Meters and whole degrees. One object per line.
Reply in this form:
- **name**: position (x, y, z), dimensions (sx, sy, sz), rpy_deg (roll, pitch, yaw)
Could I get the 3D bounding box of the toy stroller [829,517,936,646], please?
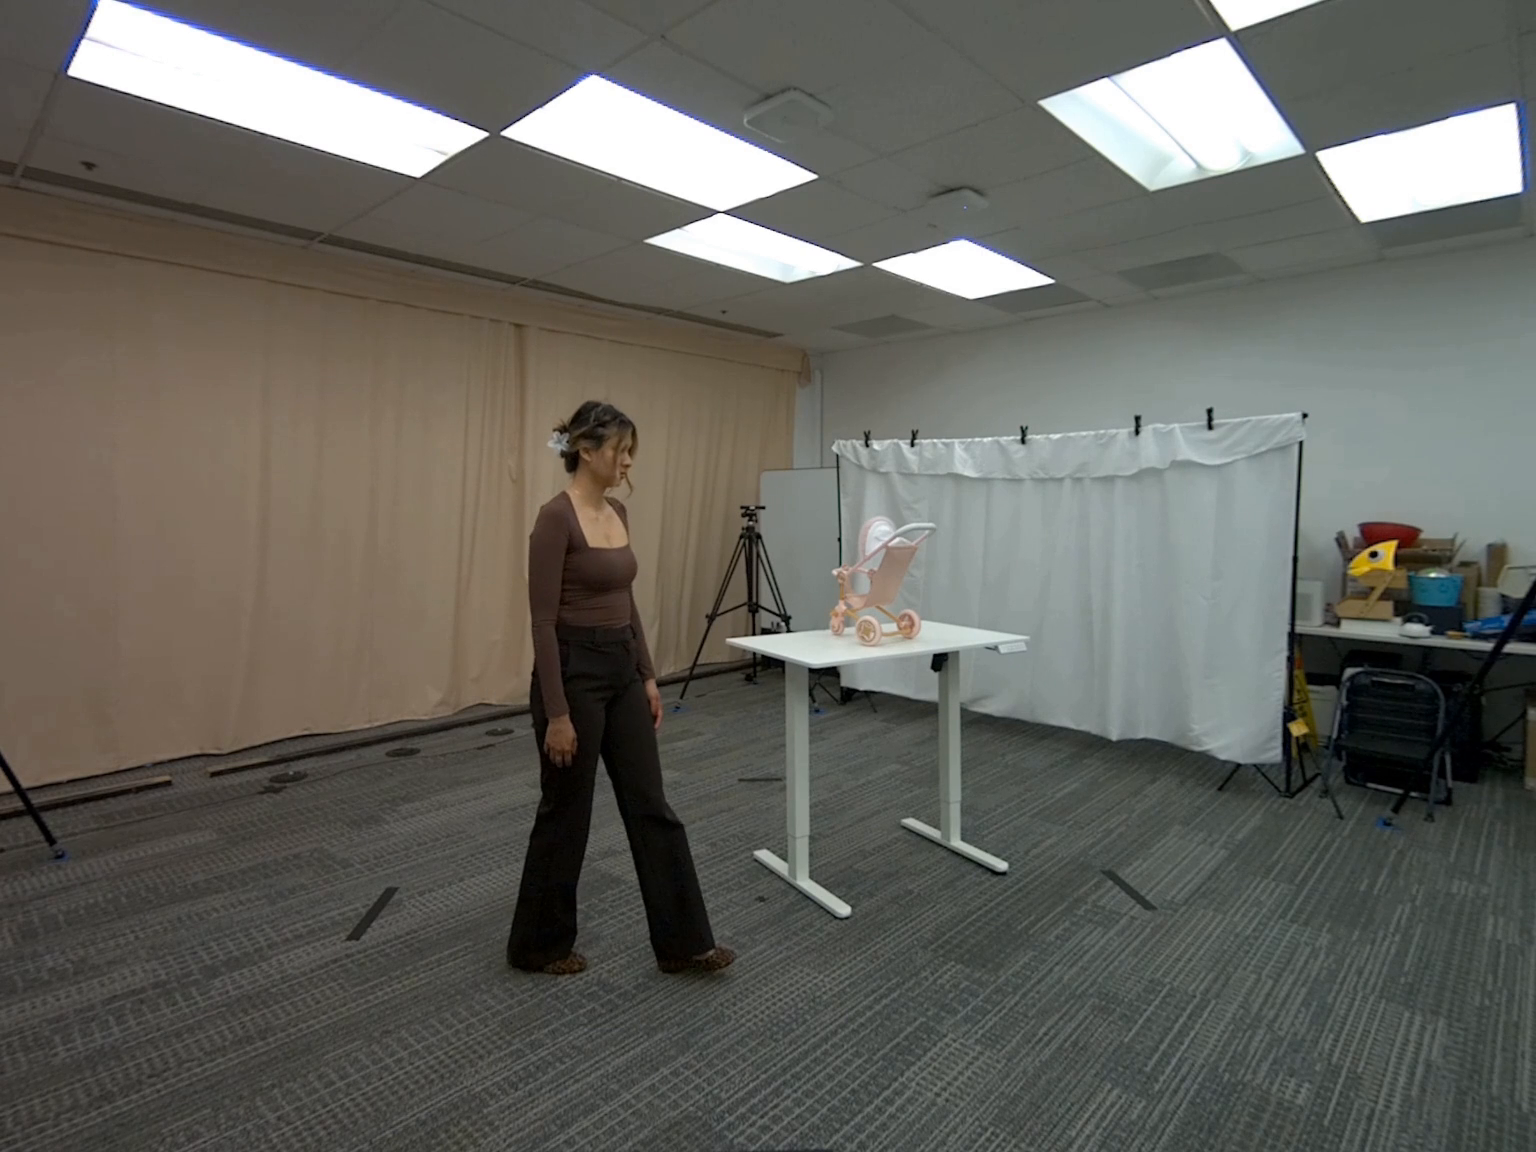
- **toy stroller**: position (0.410, 0.019, 3.179), dimensions (0.273, 0.531, 0.354), rpy_deg (-2, 18, -40)
